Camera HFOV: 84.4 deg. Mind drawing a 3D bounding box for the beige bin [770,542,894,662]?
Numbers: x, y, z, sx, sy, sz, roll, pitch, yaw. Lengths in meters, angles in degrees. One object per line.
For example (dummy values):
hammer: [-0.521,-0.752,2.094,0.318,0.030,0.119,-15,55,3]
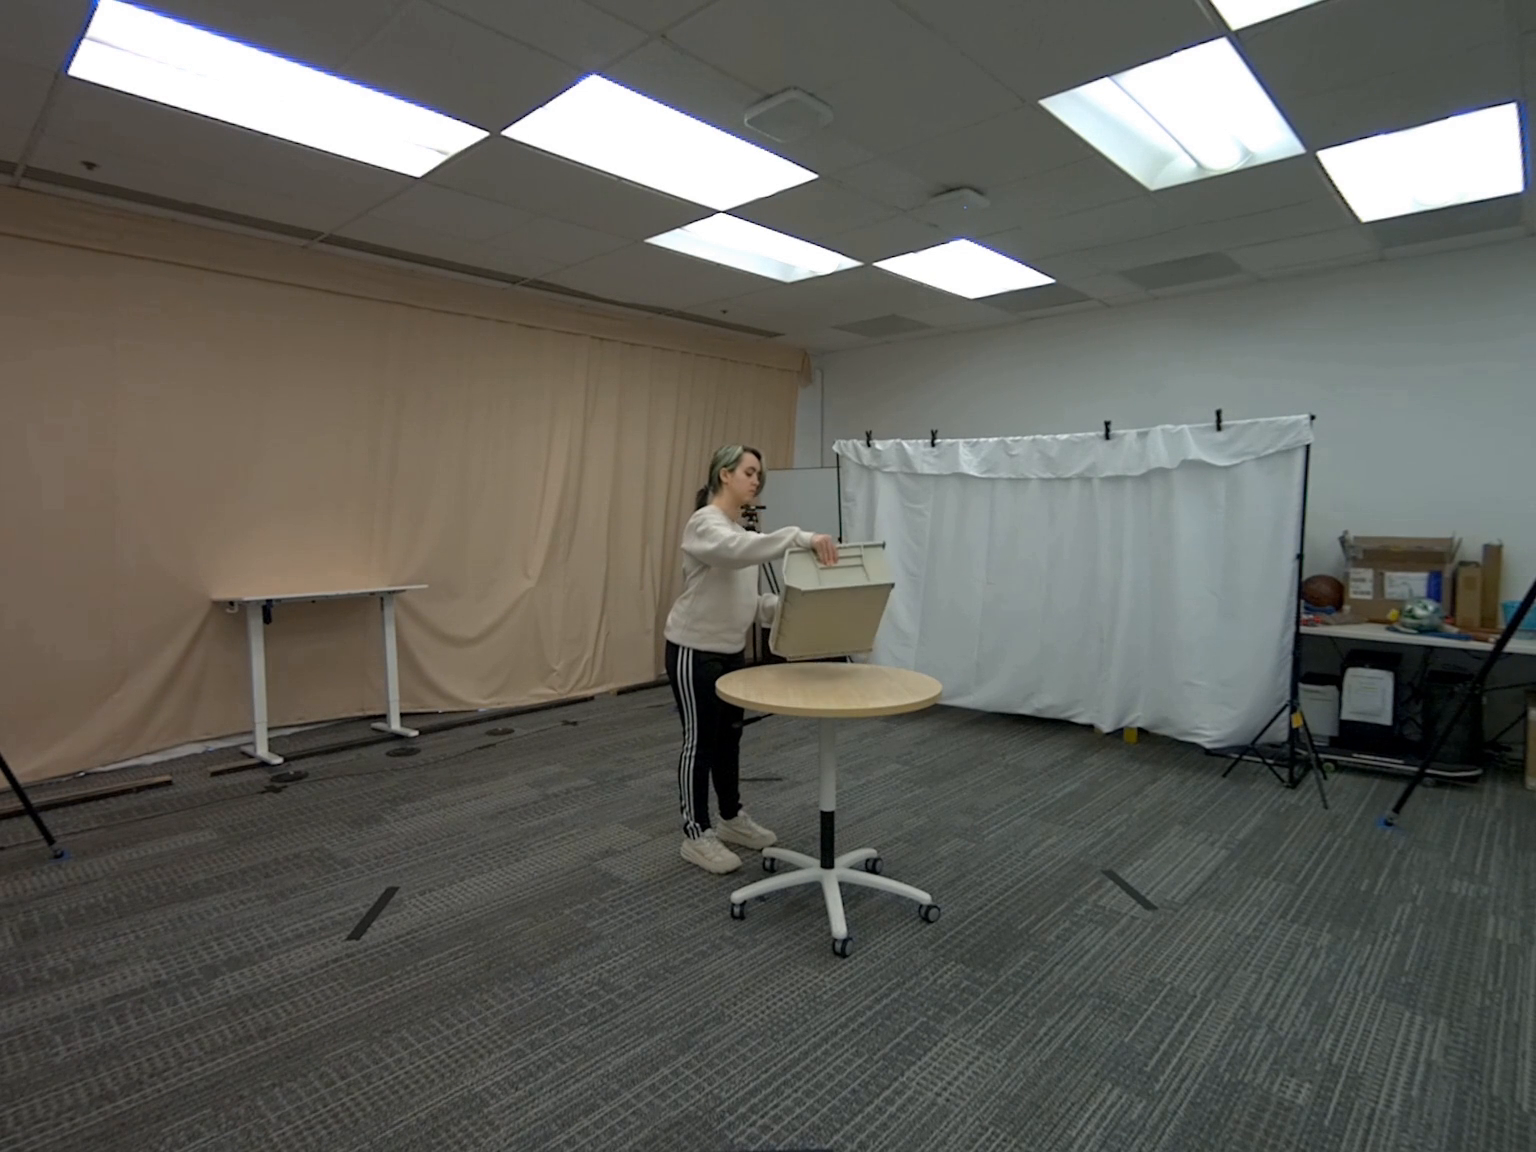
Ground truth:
beige bin: [0.216,0.093,2.933,0.374,0.193,0.416,-3,-39,-9]
